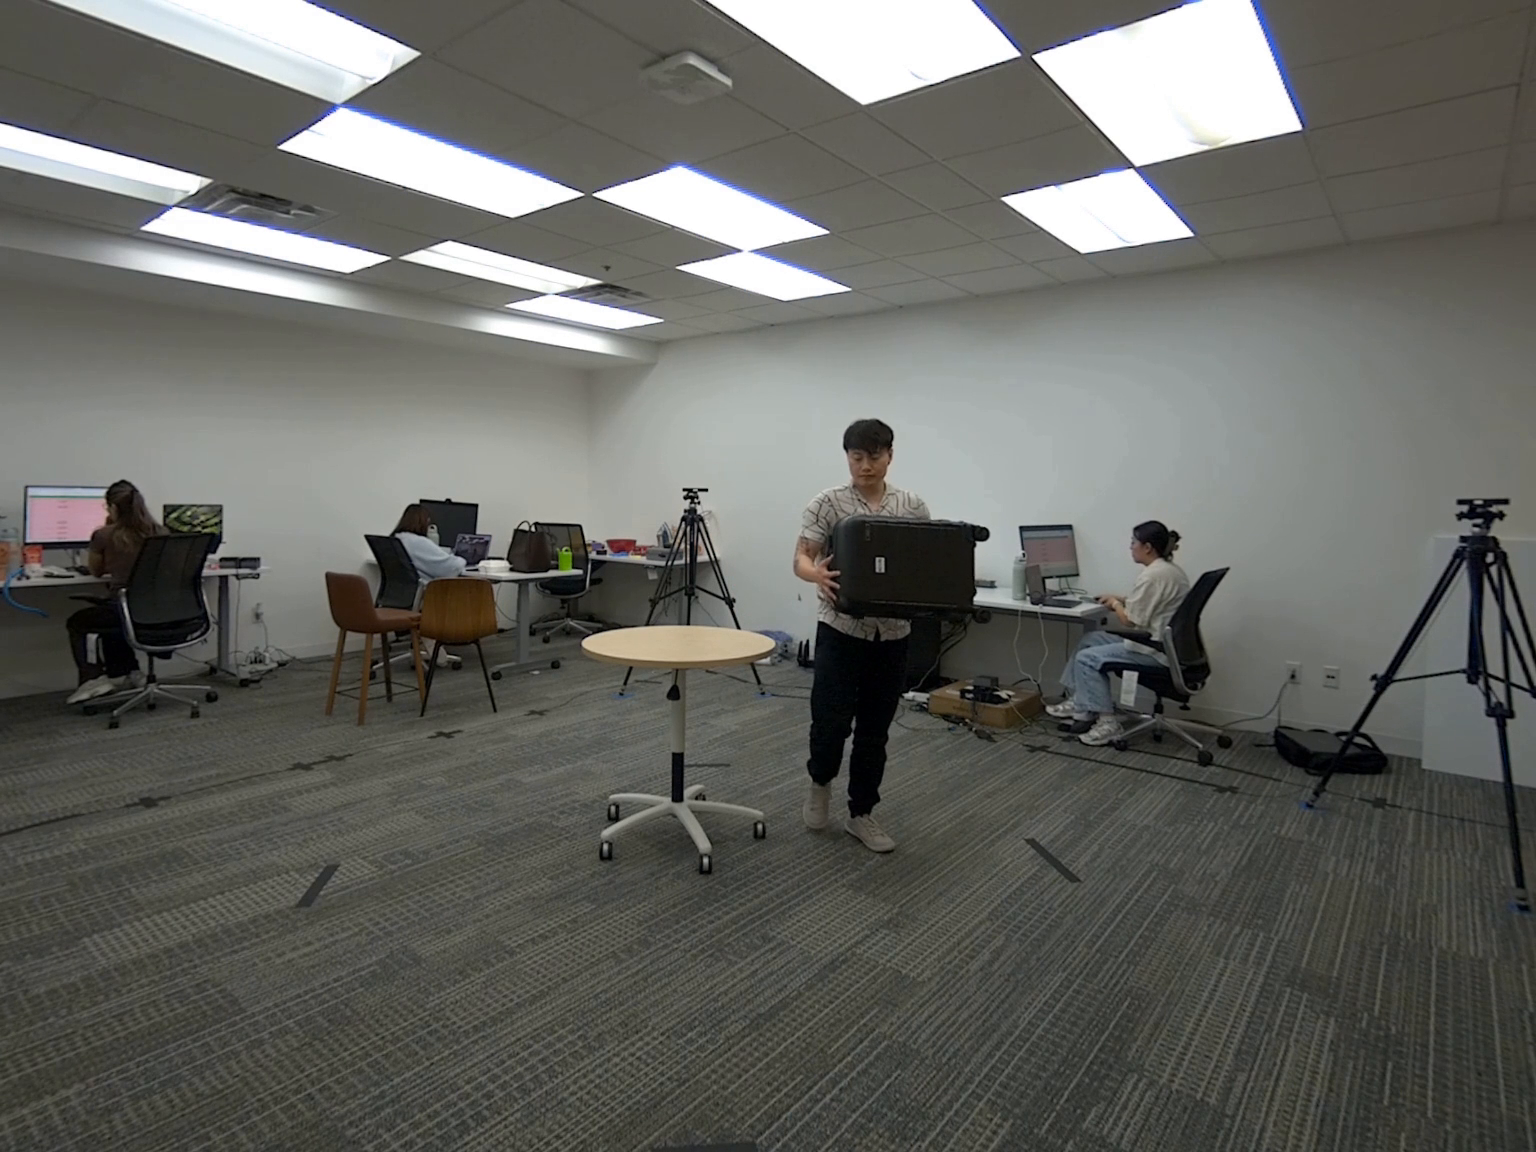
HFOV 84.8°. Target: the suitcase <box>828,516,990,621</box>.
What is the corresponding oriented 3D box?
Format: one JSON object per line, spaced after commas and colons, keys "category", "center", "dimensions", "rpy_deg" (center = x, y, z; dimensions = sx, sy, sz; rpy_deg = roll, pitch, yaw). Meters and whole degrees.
{"category": "suitcase", "center": [0.489, -0.042, 3.083], "dimensions": [0.543, 0.378, 0.249], "rpy_deg": [4, -8, -10]}
